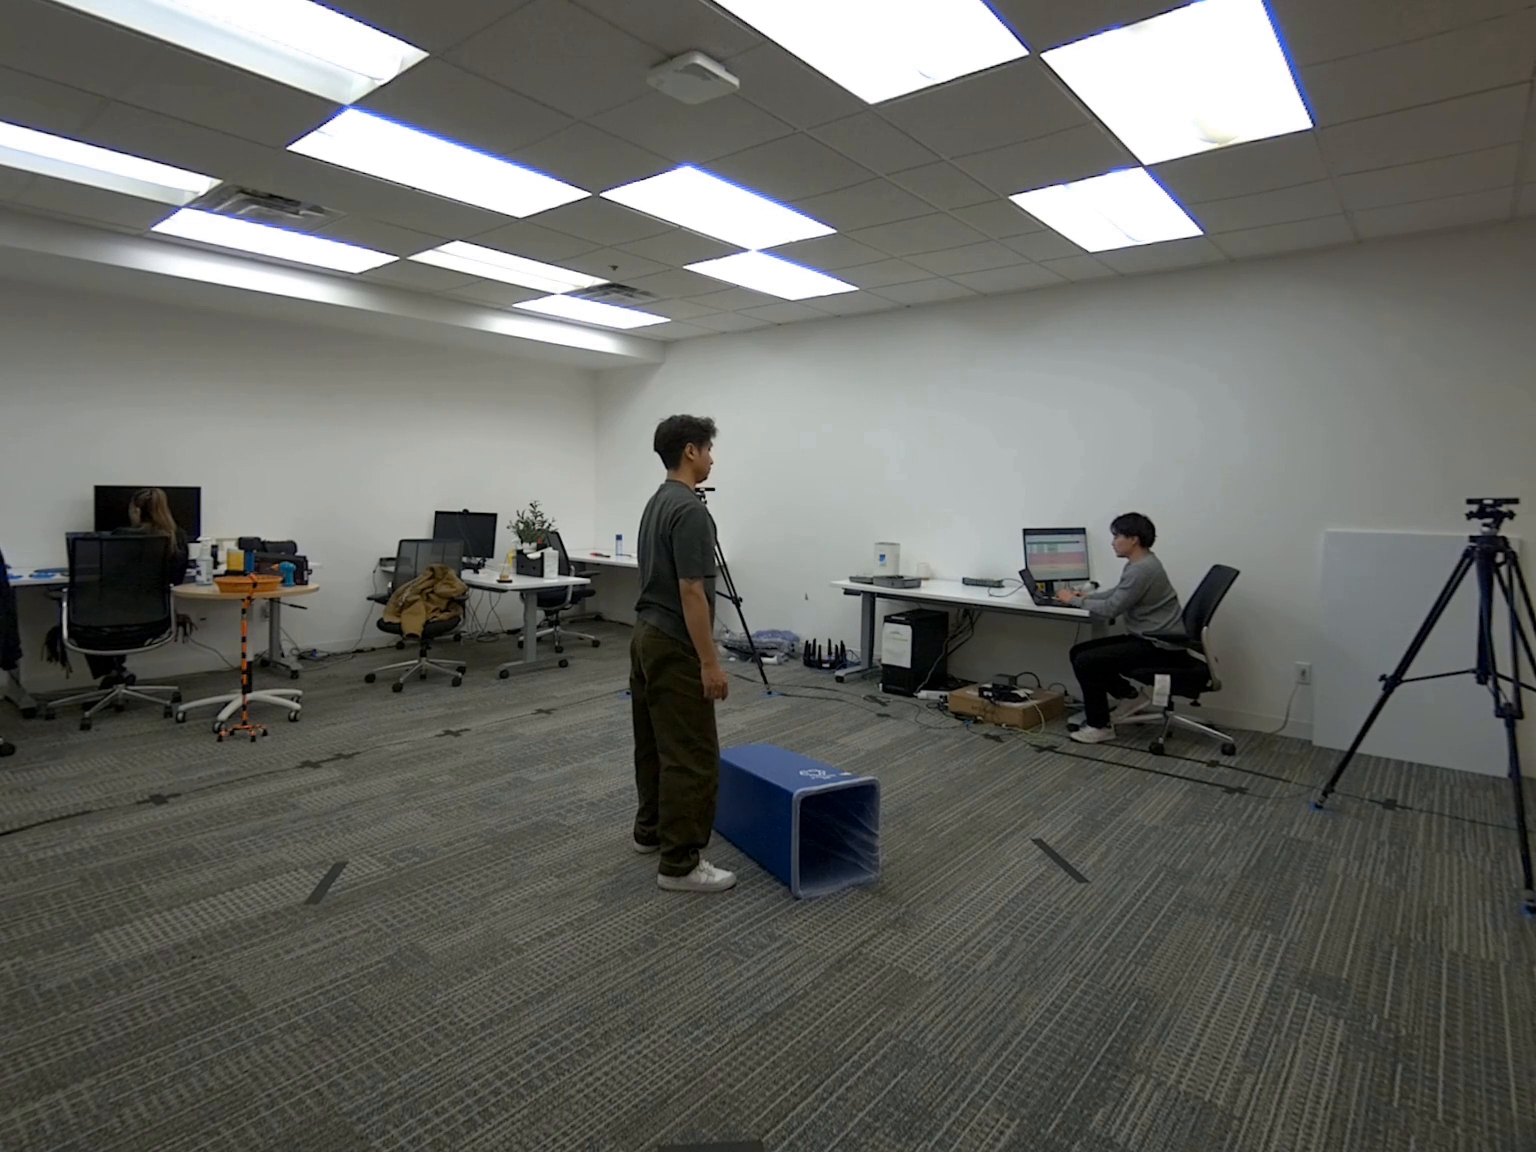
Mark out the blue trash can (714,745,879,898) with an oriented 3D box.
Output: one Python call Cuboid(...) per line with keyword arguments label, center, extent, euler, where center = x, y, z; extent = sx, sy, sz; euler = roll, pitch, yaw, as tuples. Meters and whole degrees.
Cuboid(label="blue trash can", center=(0.056, 0.890, 3.272), extent=(0.368, 0.373, 0.734), euler=(-2, 3, -30))
